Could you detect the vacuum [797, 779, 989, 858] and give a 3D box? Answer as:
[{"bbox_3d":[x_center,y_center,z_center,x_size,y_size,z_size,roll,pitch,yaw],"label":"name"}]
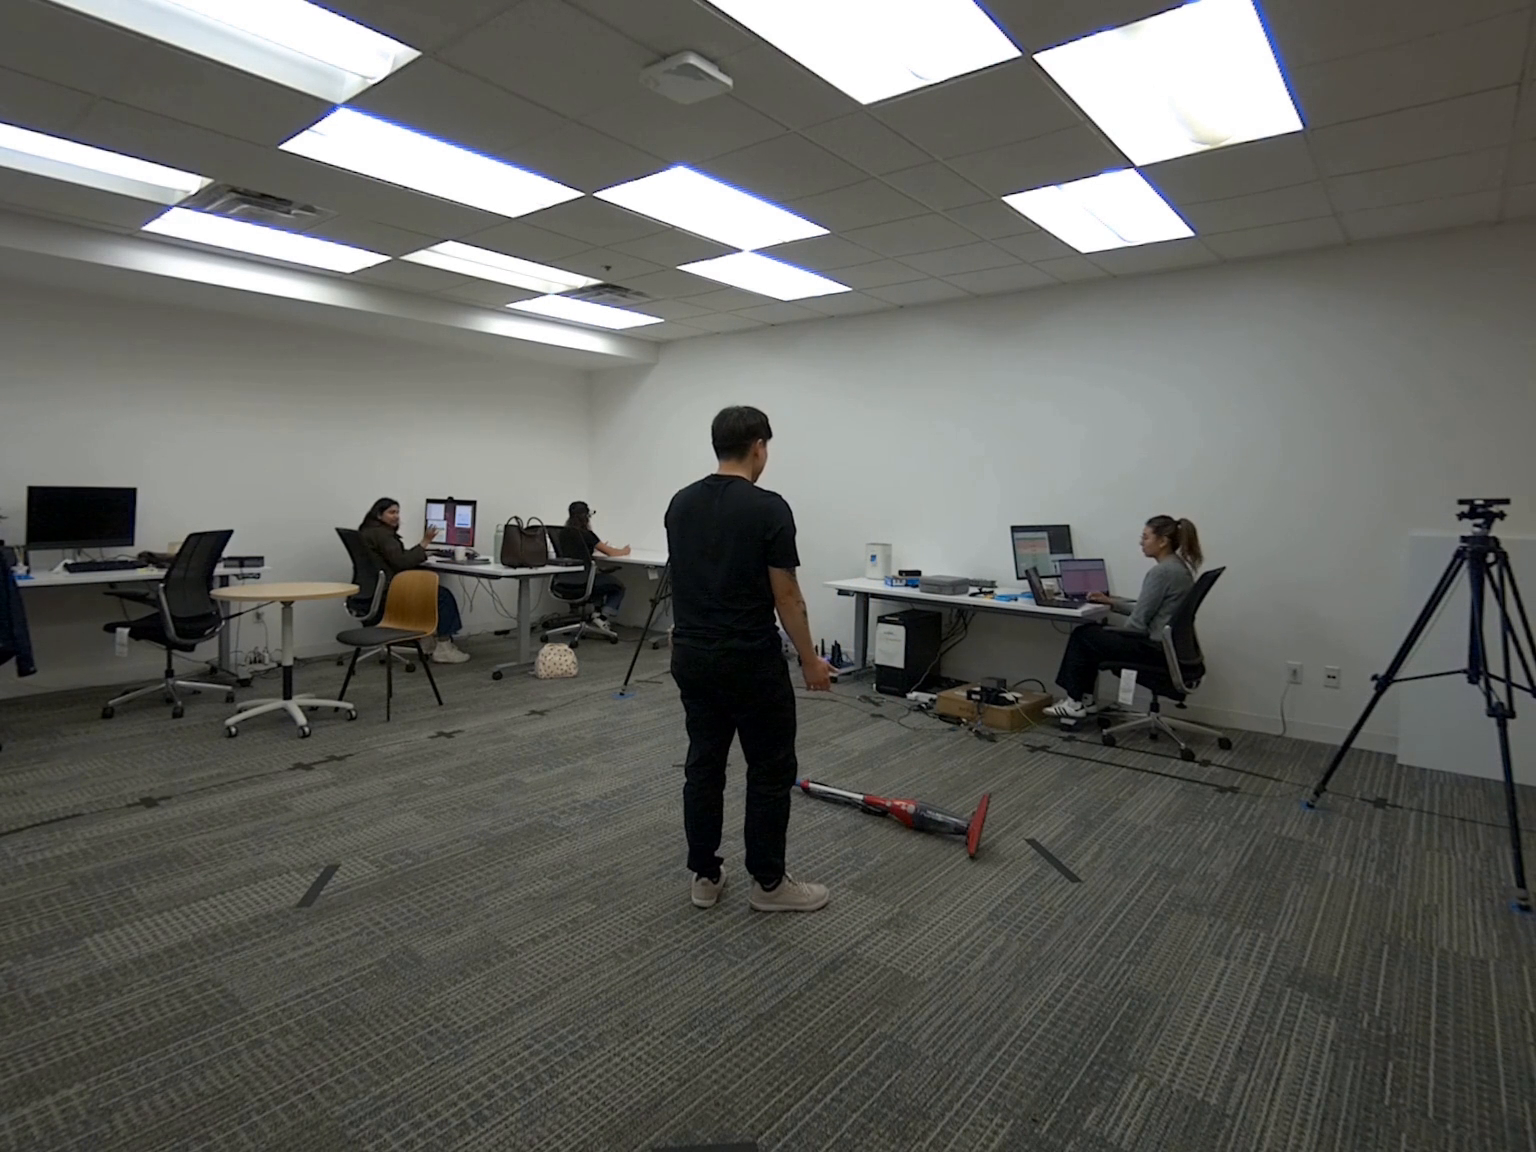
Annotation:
[{"bbox_3d":[0.431,0.975,3.687,1.083,0.255,0.138,1,-34,43],"label":"vacuum"}]
